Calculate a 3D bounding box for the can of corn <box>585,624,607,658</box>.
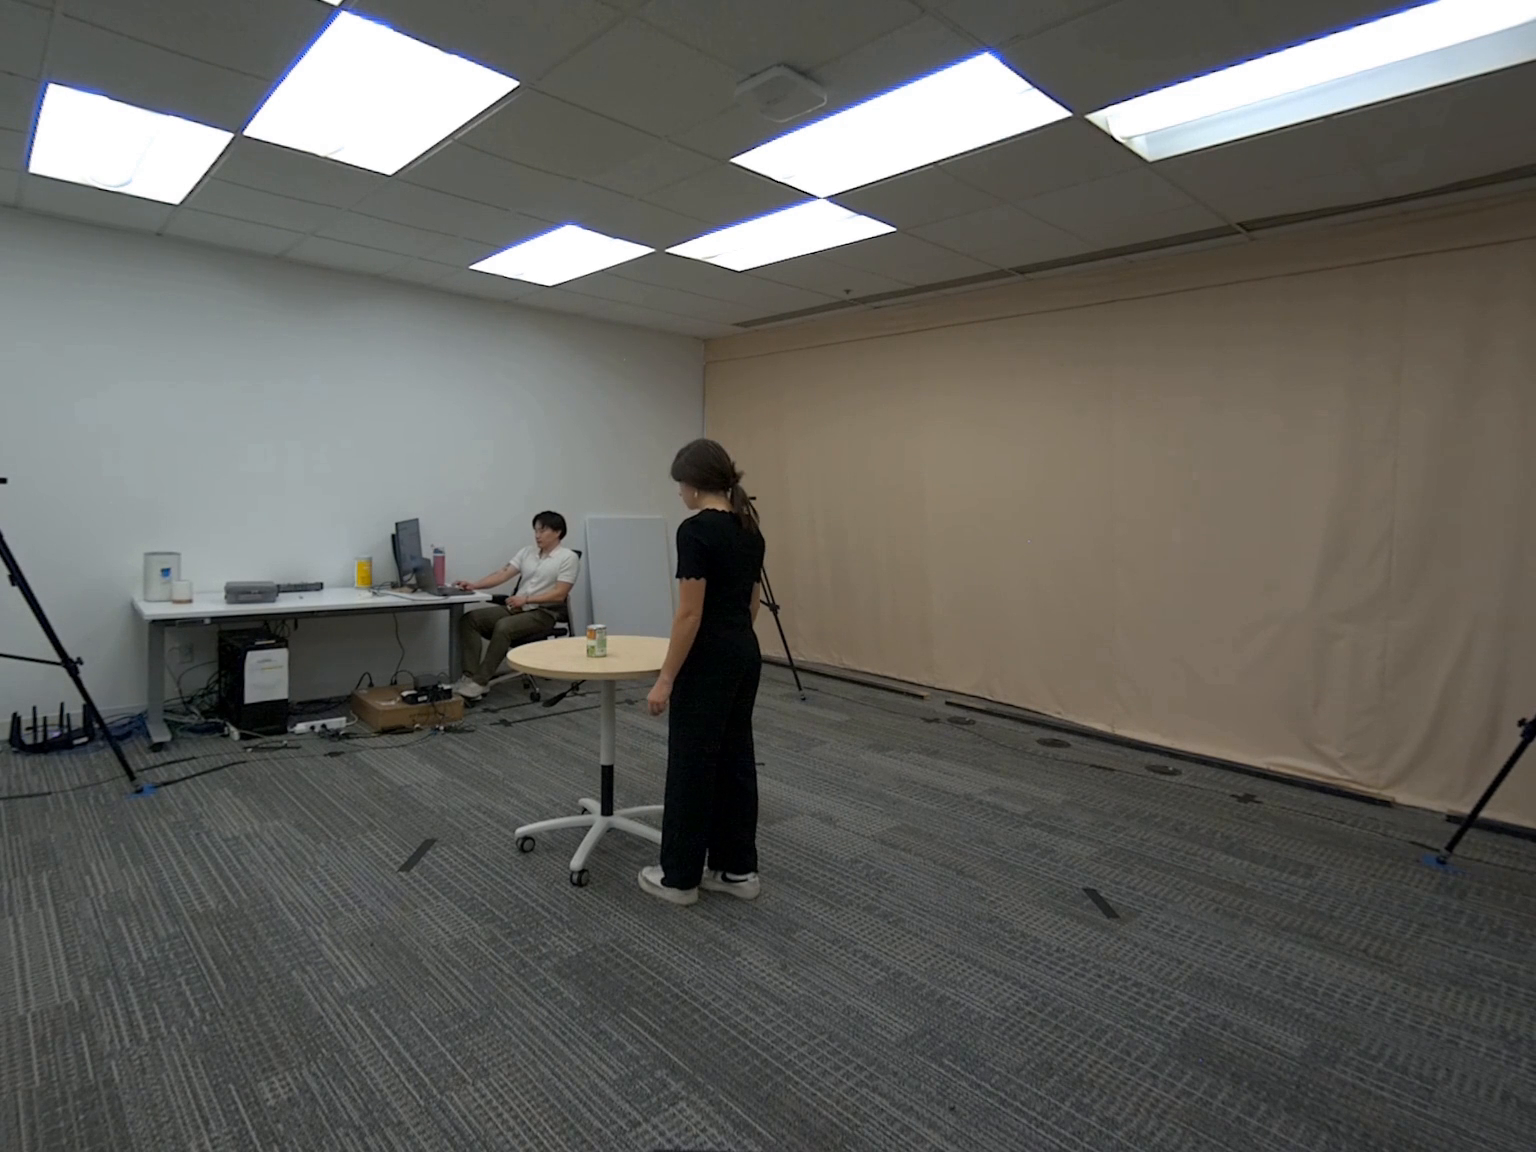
[{"bbox_3d":[-0.660,0.246,3.186,0.074,0.111,0.074,0,3,-1],"label":"can of corn"}]
